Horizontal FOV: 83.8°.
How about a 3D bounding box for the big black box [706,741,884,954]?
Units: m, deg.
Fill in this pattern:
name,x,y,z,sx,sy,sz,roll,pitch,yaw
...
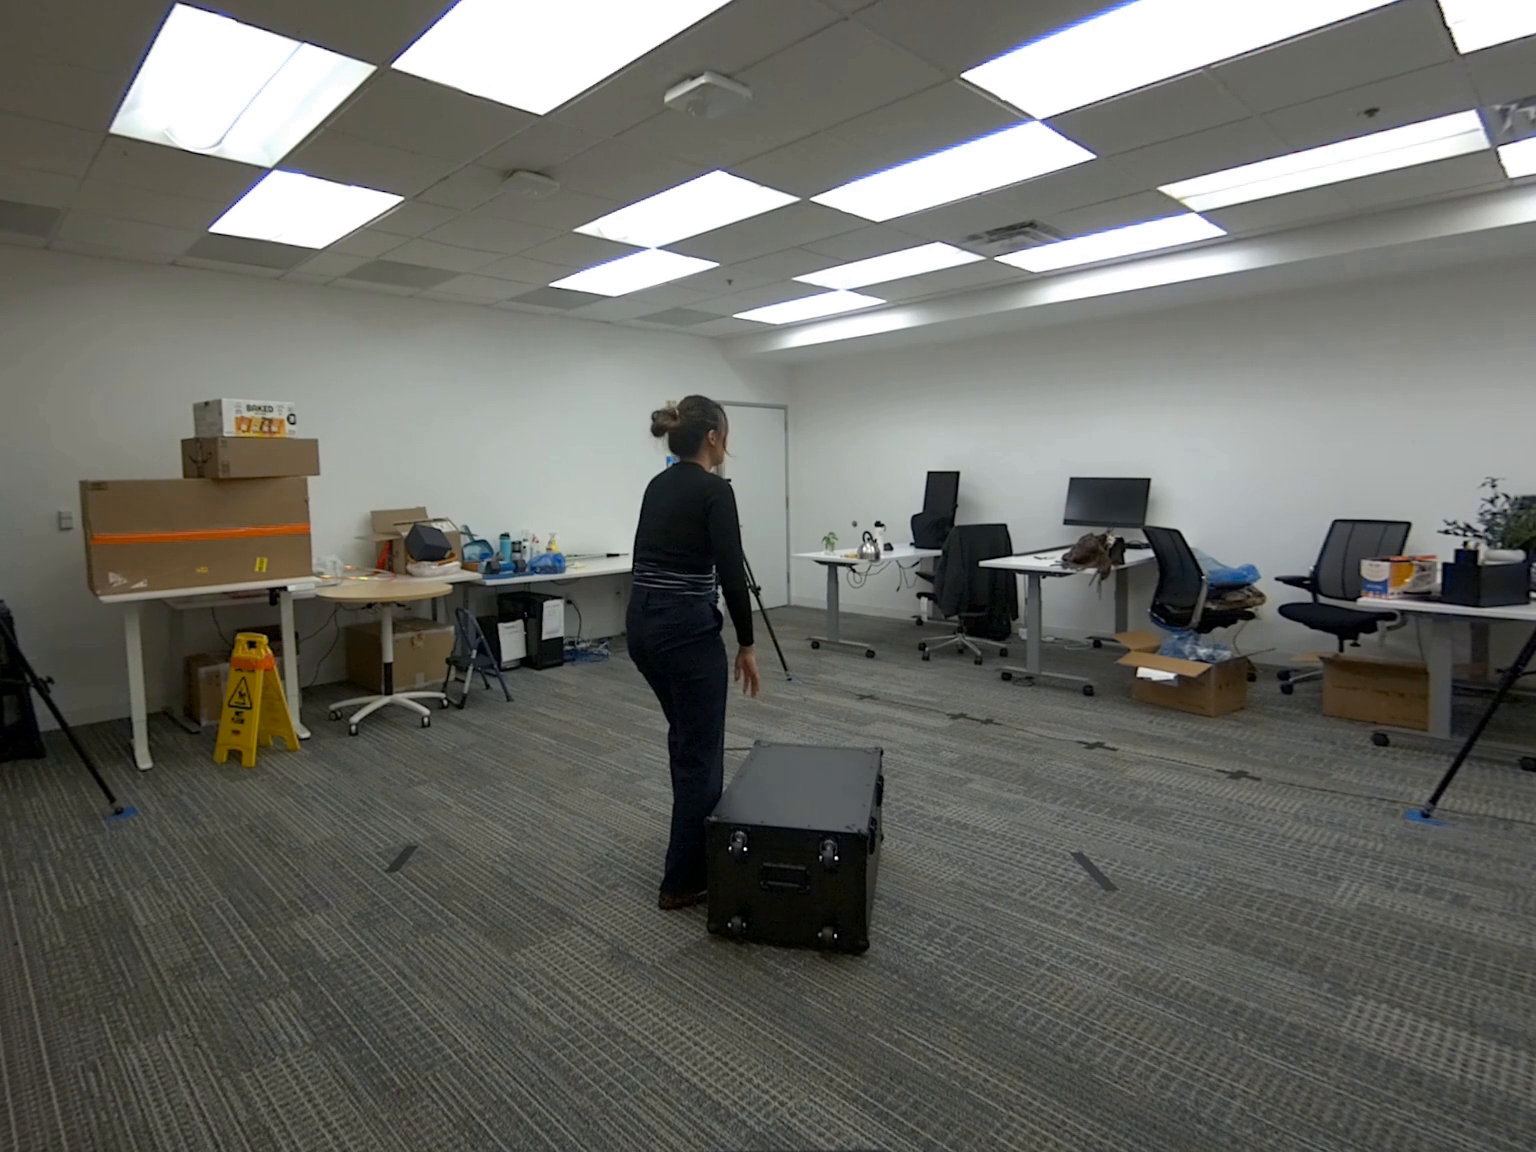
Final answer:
name,x,y,z,sx,sy,sz,roll,pitch,yaw
big black box,0.116,0.873,2.866,0.528,0.394,0.854,0,6,11
